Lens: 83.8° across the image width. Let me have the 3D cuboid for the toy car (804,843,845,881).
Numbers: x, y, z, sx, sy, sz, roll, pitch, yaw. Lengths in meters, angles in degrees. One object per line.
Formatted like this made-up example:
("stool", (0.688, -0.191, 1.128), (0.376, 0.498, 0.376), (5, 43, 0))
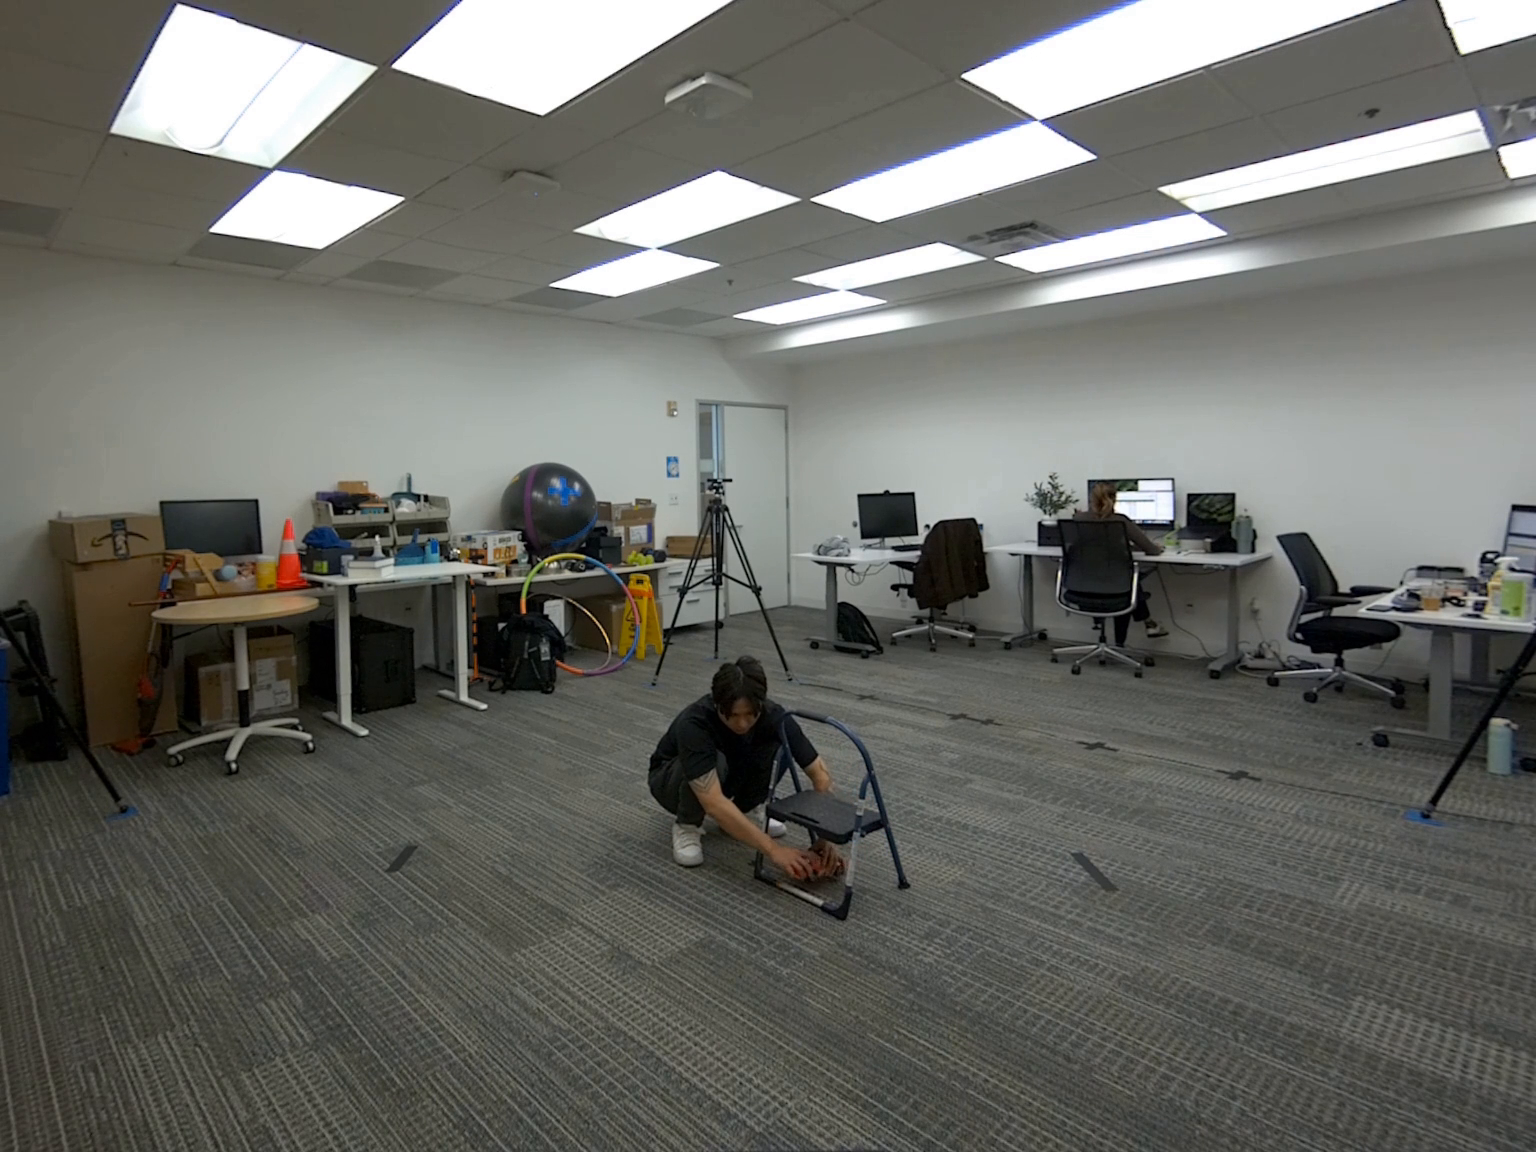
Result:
("toy car", (0.148, 1.010, 2.927), (0.246, 0.083, 0.135), (16, 0, -40))
